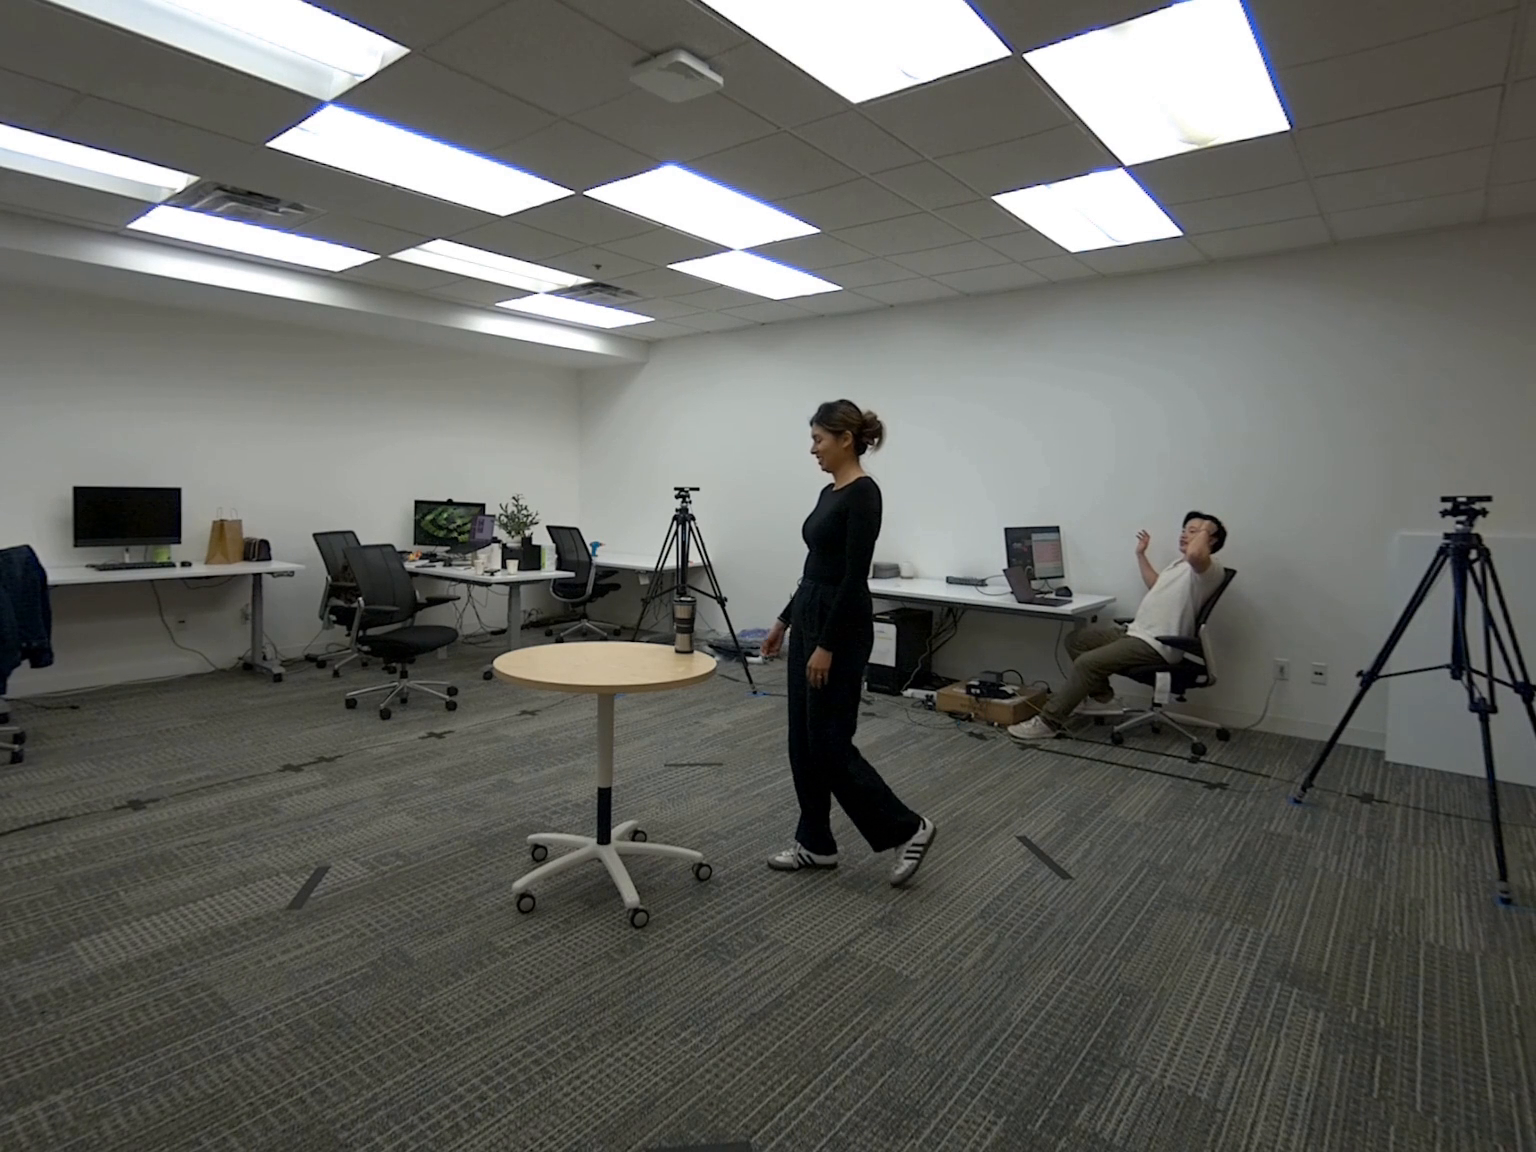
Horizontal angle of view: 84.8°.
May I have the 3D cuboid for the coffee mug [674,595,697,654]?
[{"bbox_3d":[-0.307,0.178,3.166,0.091,0.201,0.119,4,9,38],"label":"coffee mug"}]
